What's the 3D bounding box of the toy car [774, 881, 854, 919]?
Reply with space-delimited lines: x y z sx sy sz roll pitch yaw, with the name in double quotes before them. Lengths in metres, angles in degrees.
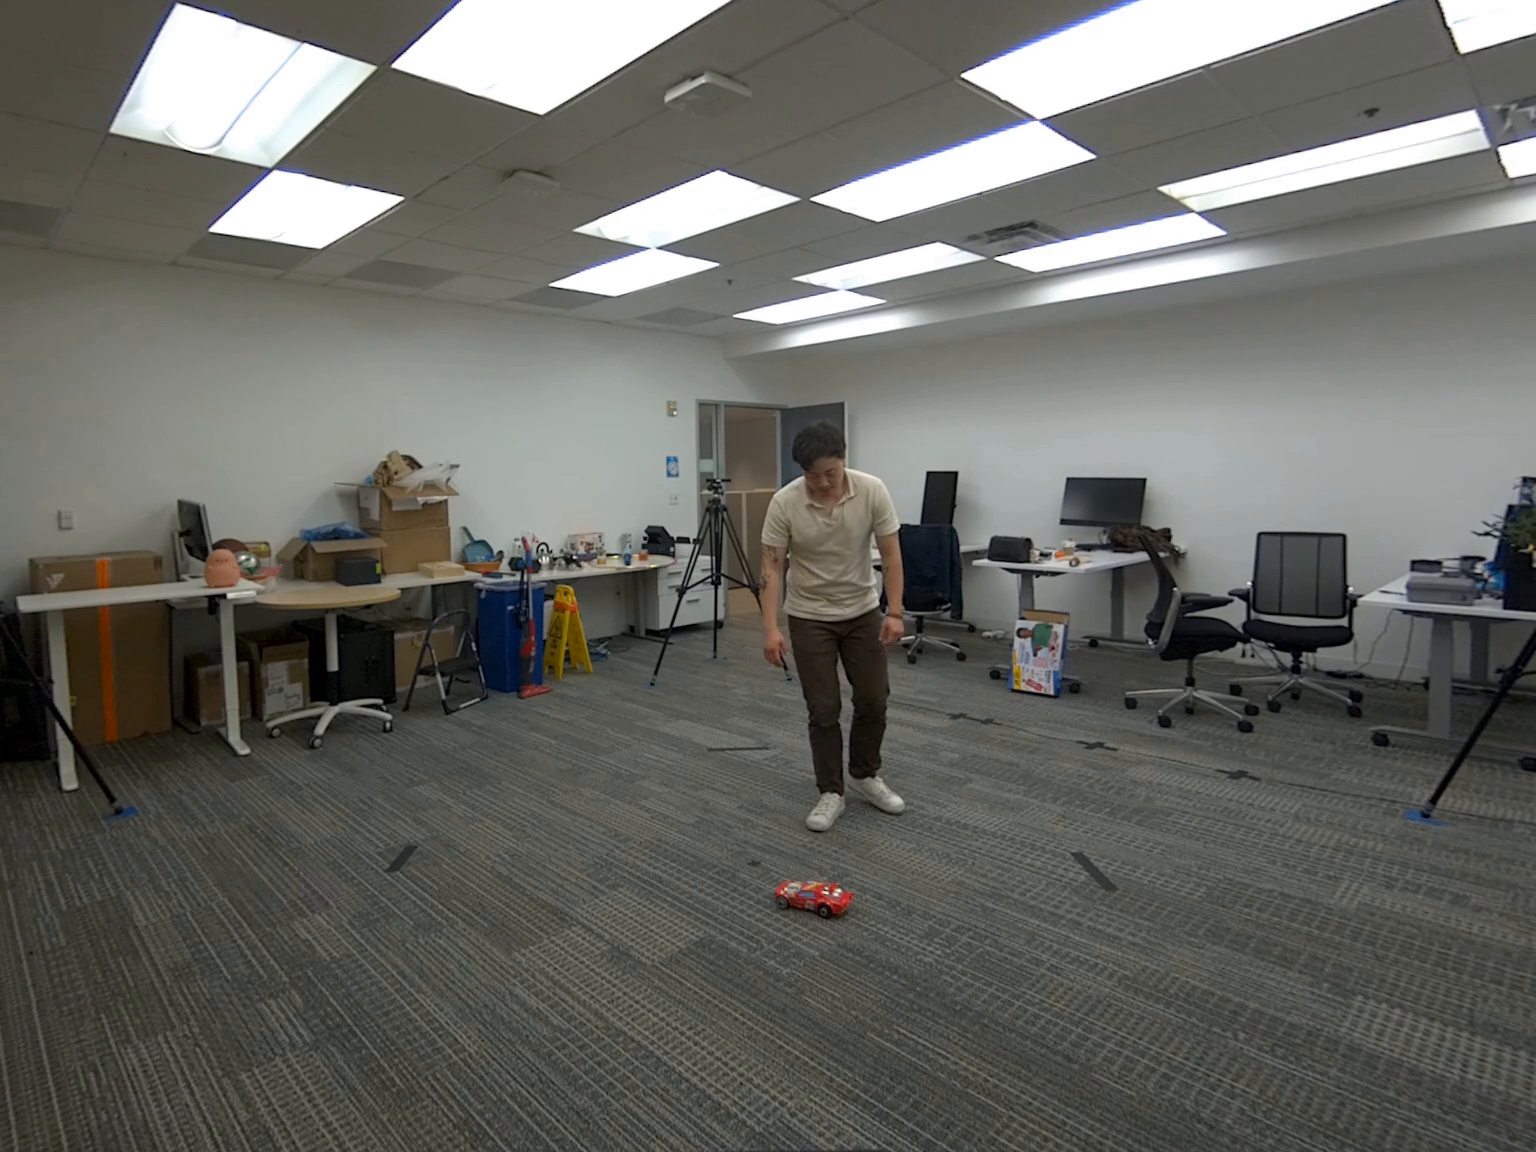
"toy car" 0.156 1.045 2.776 0.259 0.083 0.128 -10 1 26
